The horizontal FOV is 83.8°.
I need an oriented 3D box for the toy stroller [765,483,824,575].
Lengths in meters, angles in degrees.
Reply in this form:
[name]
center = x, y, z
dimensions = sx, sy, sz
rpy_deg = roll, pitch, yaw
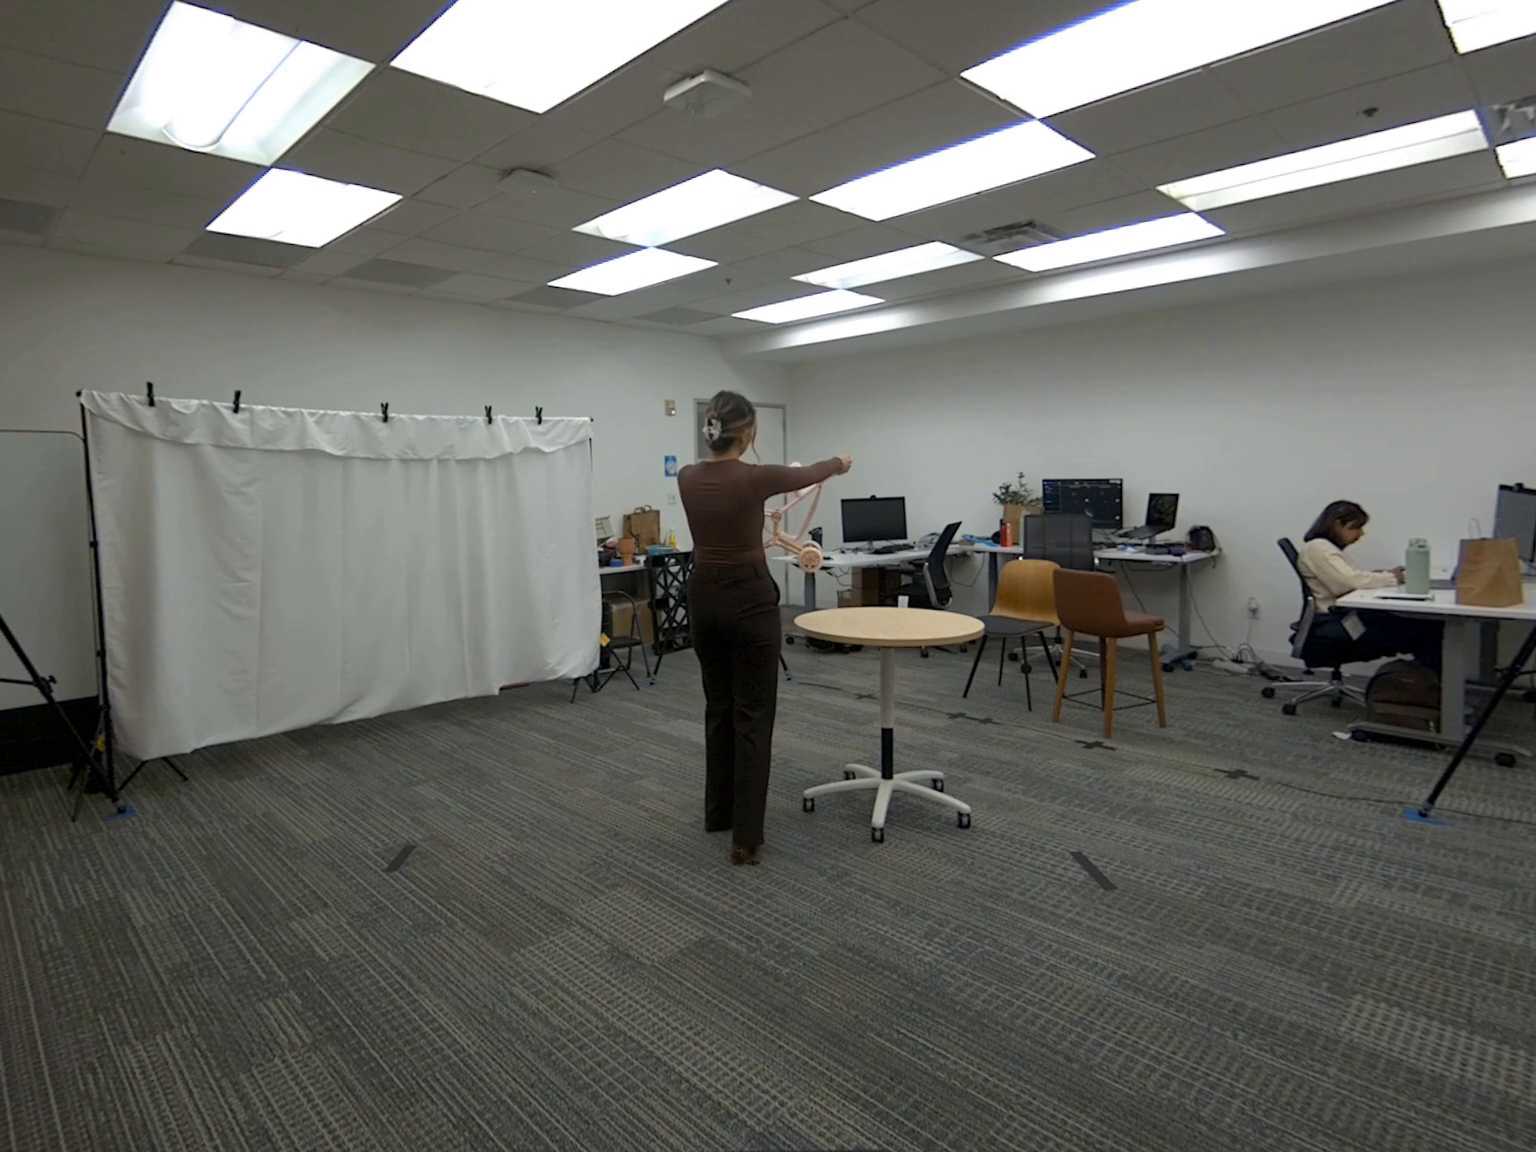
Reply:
[toy stroller]
center = 0.124, -0.263, 3.800
dimensions = 0.344, 0.531, 0.281
rpy_deg = 14, 10, 7
